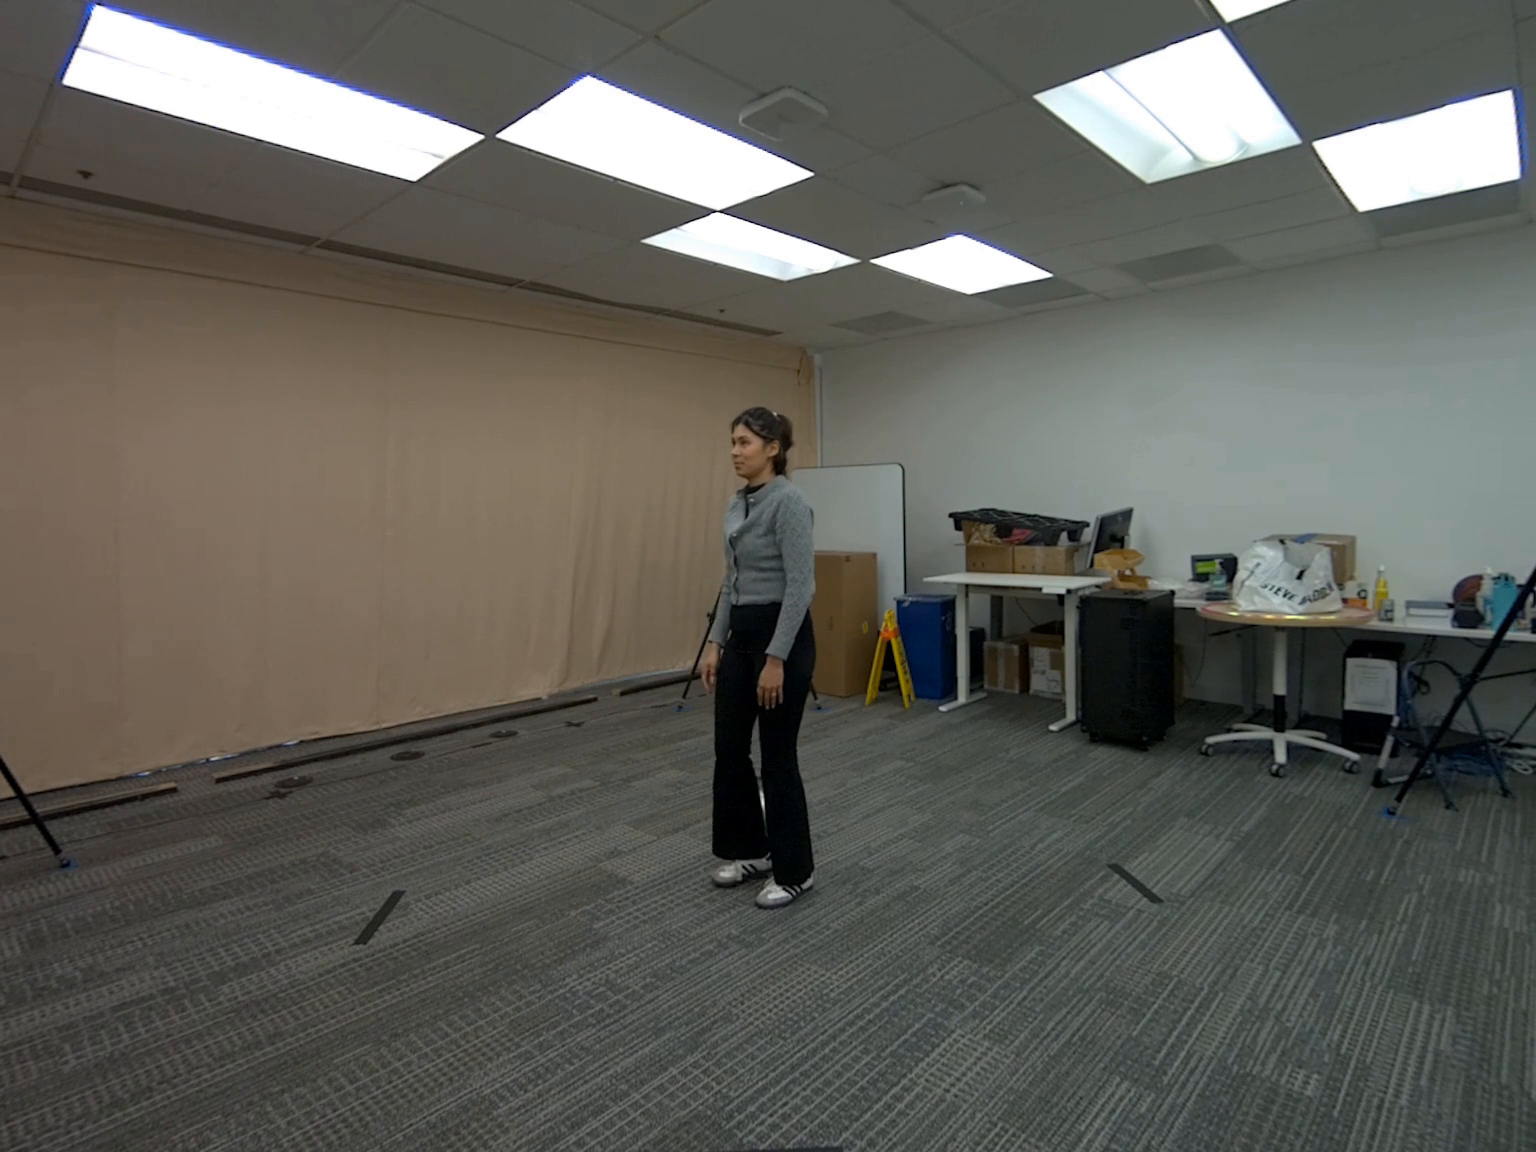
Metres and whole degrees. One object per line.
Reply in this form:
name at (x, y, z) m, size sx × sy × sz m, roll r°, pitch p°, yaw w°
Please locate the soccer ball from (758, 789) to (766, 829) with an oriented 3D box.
soccer ball at (-0.051, 0.996, 3.568) m, size 0.187 × 0.187 × 0.188 m, roll -1°, pitch 4°, yaw -2°
